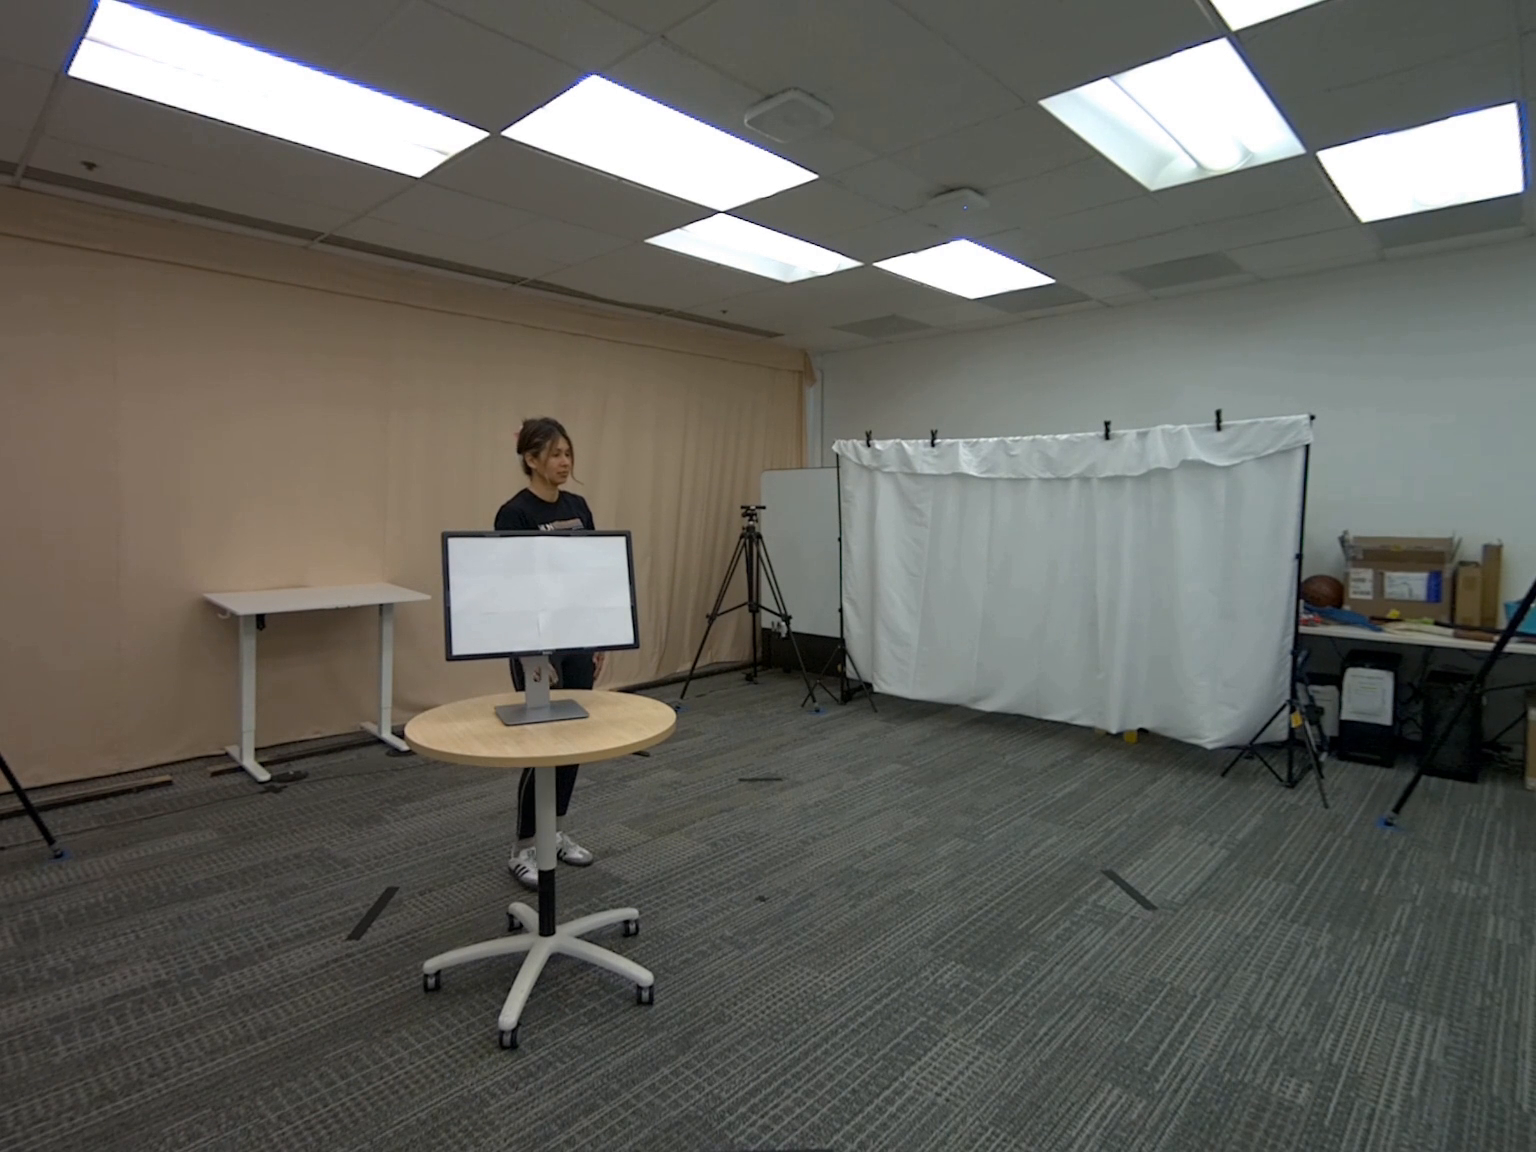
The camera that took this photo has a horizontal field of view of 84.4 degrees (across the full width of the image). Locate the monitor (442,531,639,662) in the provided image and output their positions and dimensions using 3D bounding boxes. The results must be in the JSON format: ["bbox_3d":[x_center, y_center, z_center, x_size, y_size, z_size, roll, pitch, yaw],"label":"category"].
[{"bbox_3d":[-0.670,0.144,2.479,0.525,0.521,0.192,-1,3,-28],"label":"monitor"}]
